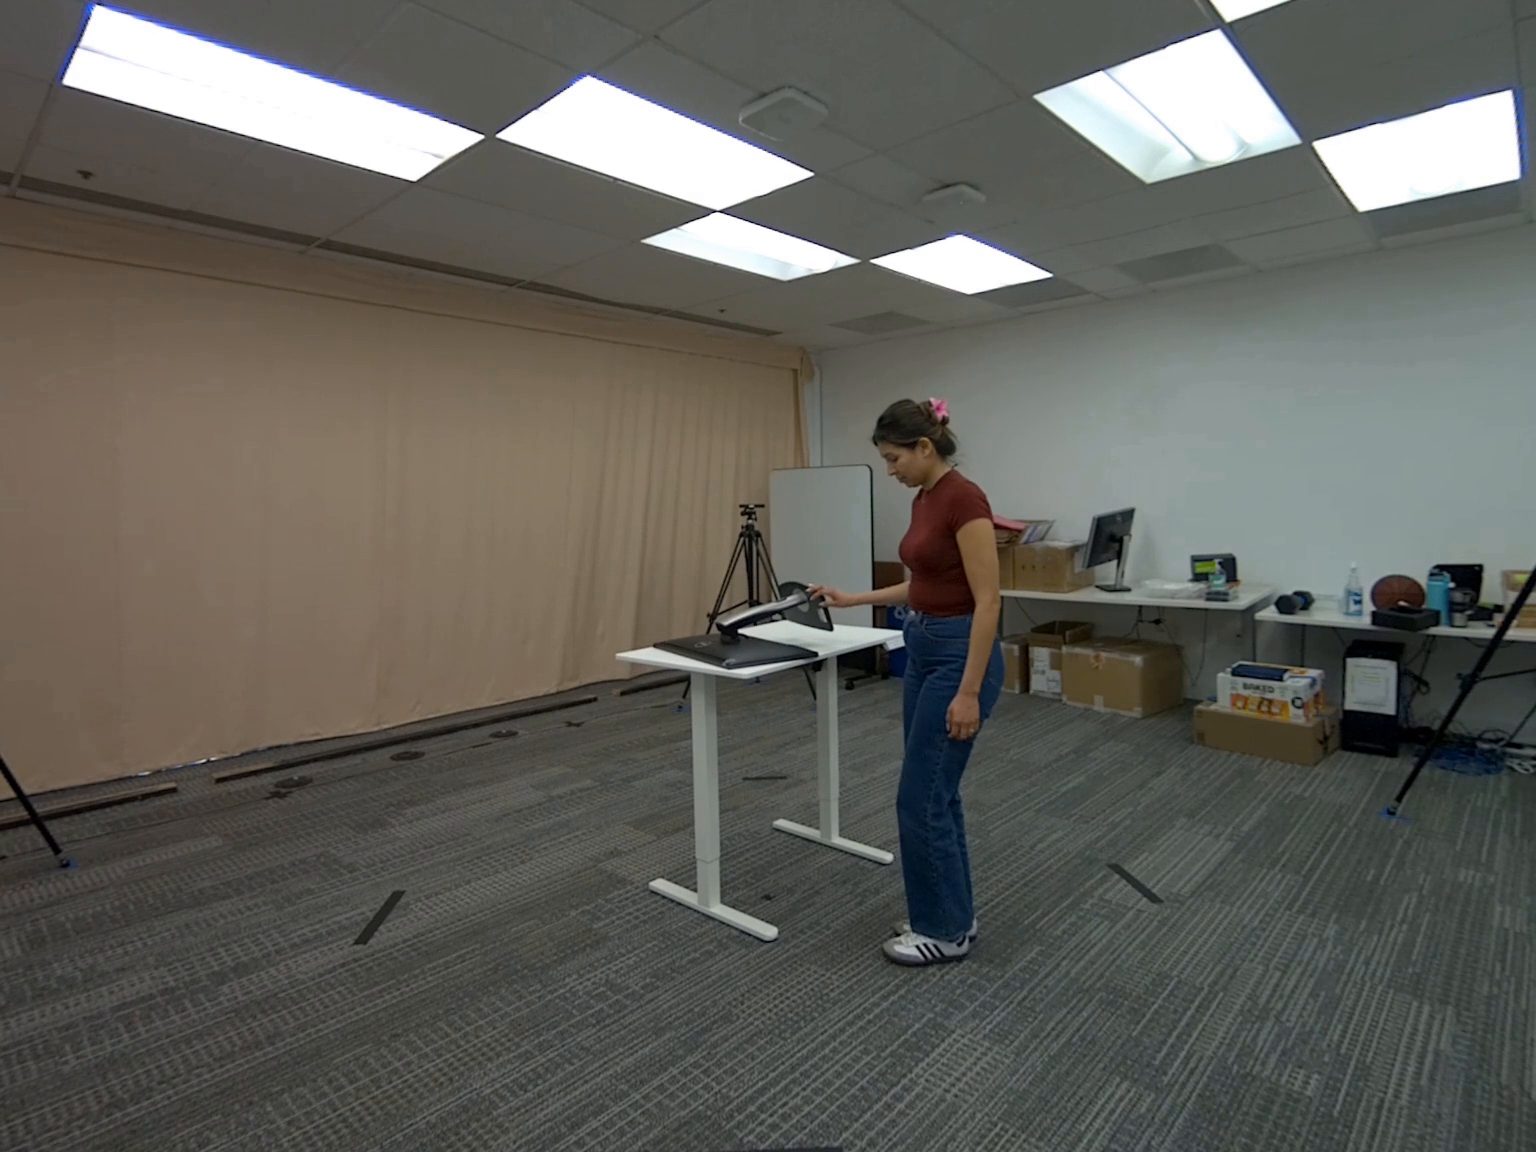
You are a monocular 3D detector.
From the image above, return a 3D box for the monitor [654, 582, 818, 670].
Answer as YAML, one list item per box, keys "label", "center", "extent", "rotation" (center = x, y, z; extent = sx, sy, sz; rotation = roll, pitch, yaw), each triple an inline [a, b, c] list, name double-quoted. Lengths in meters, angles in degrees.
- label: "monitor"
  center: [-0.059, 0.194, 2.966]
  extent: [0.513, 0.185, 0.555]
  rotation: [-24, 15, -28]
